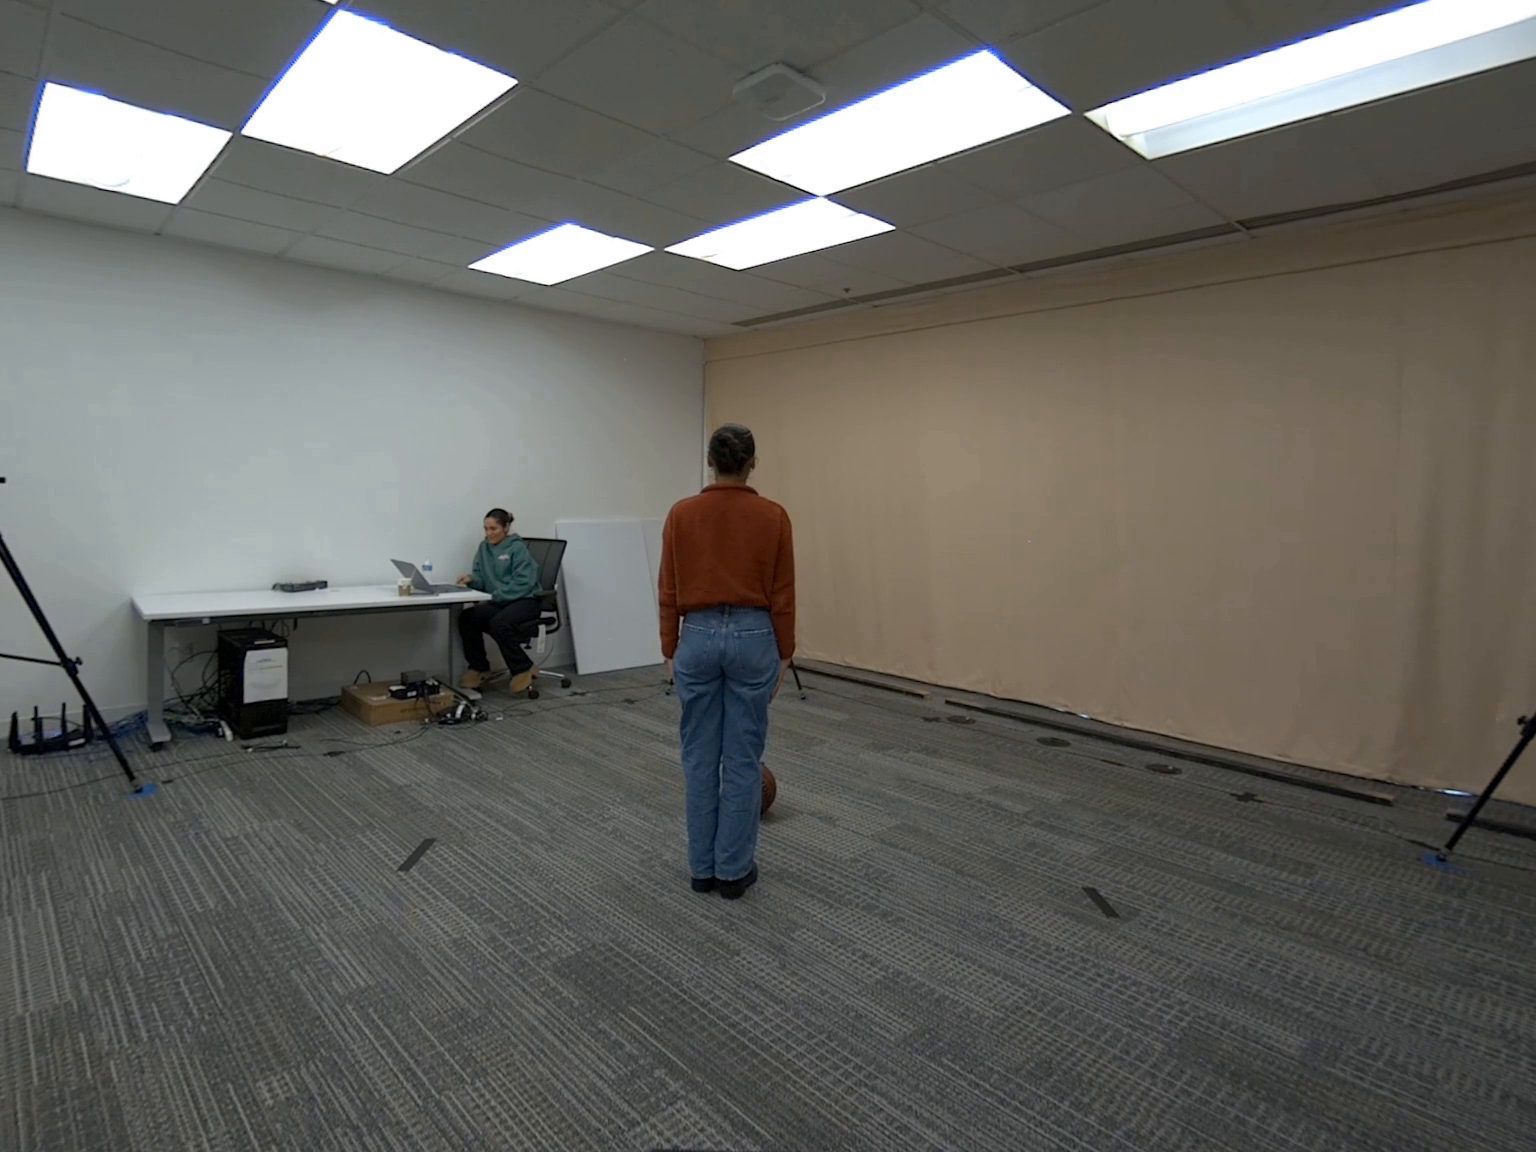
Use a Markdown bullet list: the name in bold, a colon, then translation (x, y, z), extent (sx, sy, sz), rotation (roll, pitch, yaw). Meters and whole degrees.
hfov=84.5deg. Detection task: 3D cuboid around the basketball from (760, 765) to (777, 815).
- **basketball**: translation (-0.086, 0.933, 3.704), extent (0.236, 0.235, 0.237), rotation (1, 4, -1)
